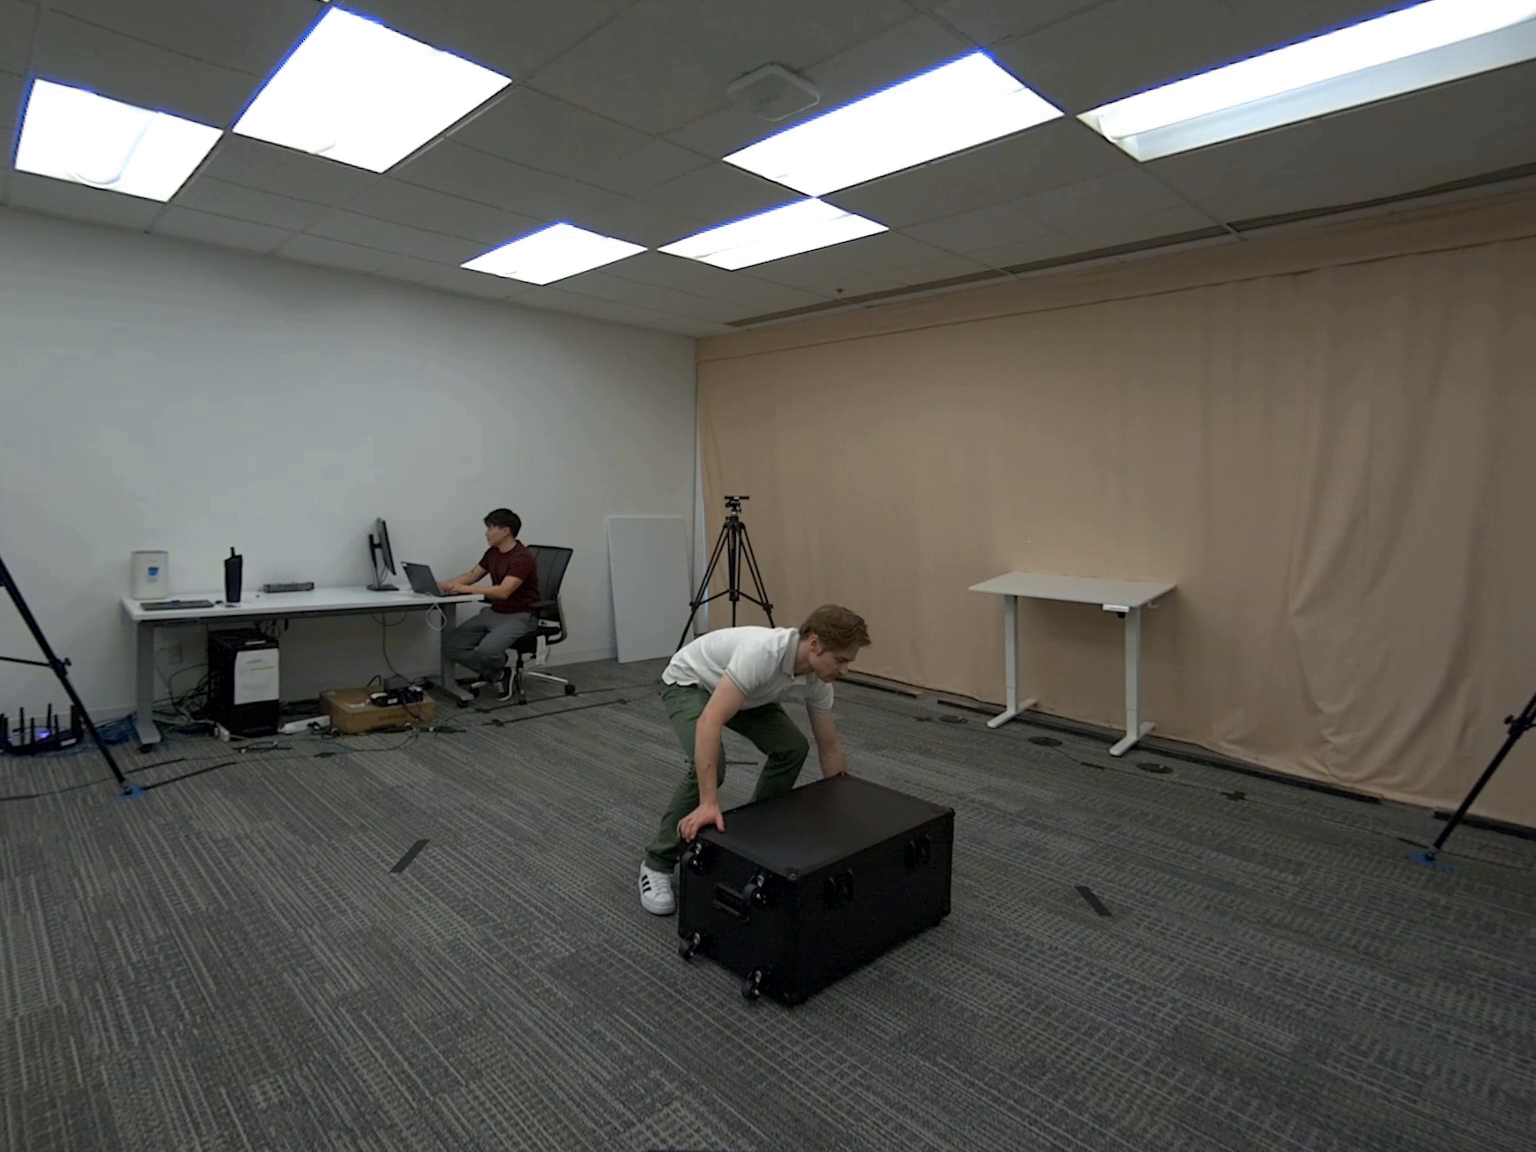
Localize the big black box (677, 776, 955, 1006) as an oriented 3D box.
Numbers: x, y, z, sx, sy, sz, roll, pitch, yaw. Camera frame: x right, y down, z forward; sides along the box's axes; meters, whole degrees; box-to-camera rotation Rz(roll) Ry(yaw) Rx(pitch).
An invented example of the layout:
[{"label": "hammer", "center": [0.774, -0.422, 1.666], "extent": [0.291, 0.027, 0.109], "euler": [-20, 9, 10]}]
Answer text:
[{"label": "big black box", "center": [0.133, 0.957, 2.678], "extent": [0.849, 0.384, 0.537], "euler": [-4, 9, -44]}]
